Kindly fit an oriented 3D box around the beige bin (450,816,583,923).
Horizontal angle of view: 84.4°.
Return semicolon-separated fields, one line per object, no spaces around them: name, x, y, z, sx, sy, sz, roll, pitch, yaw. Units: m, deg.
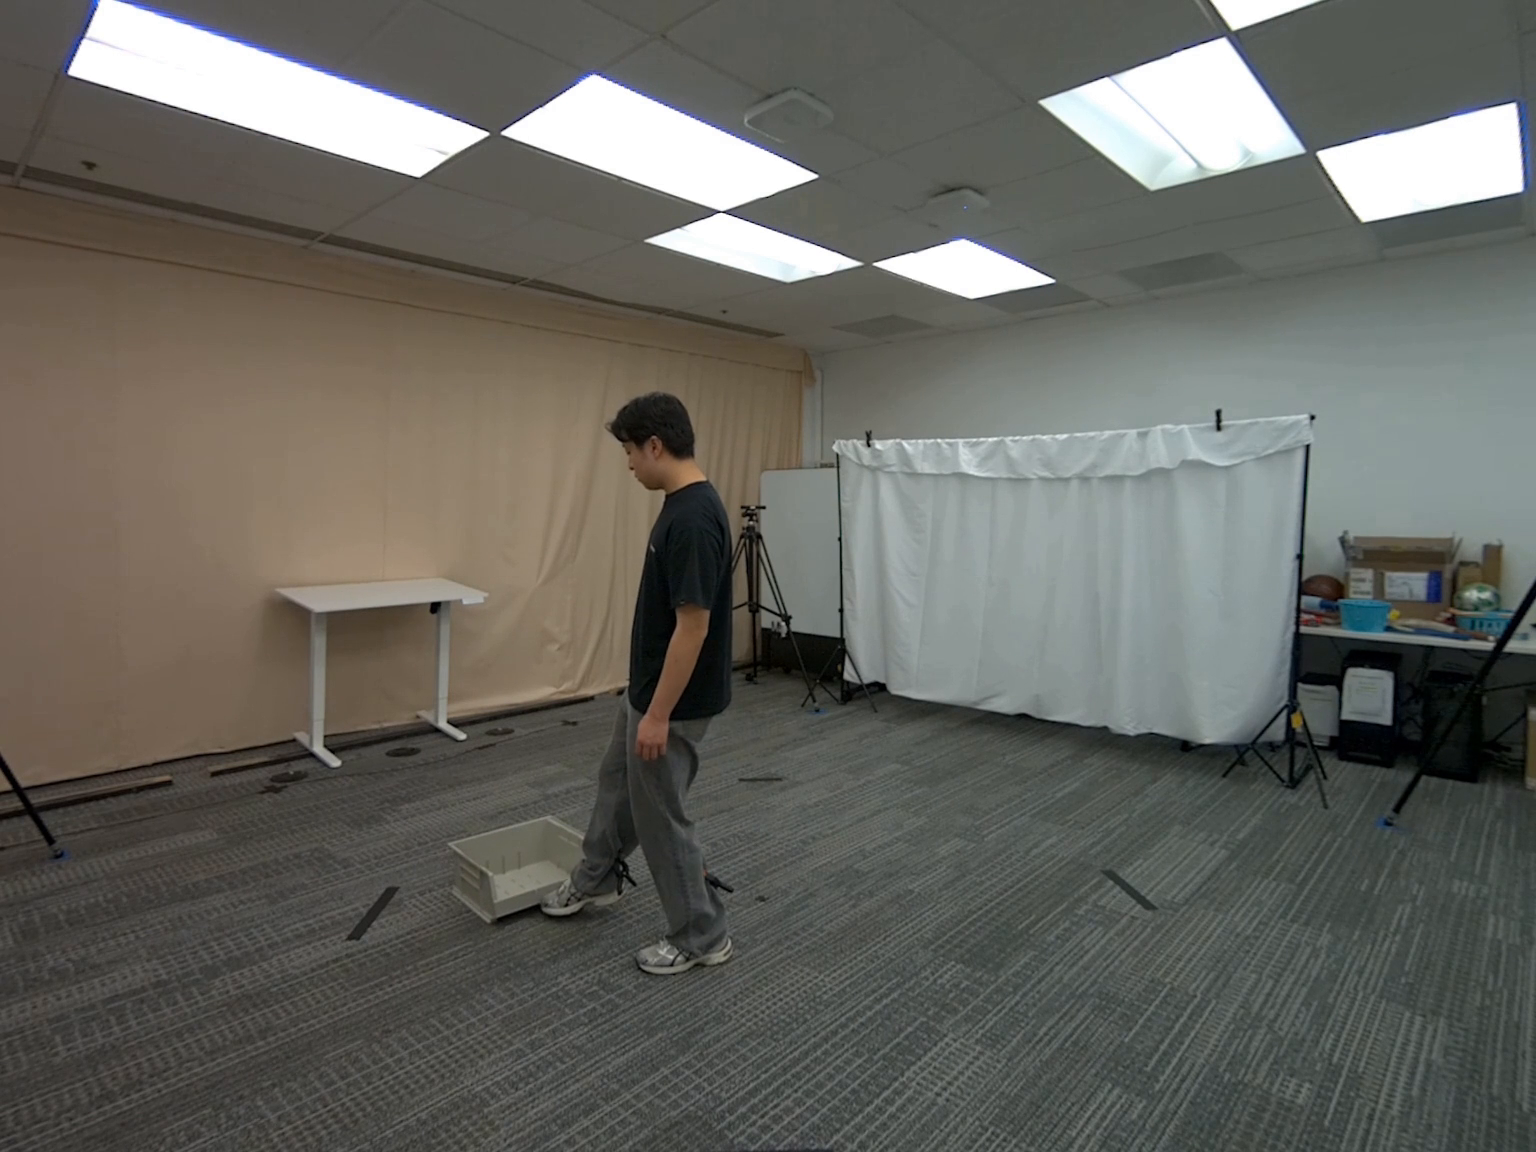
beige bin;-0.881;1.059;3.045;0.409;0.188;0.390;-5;5;-42
